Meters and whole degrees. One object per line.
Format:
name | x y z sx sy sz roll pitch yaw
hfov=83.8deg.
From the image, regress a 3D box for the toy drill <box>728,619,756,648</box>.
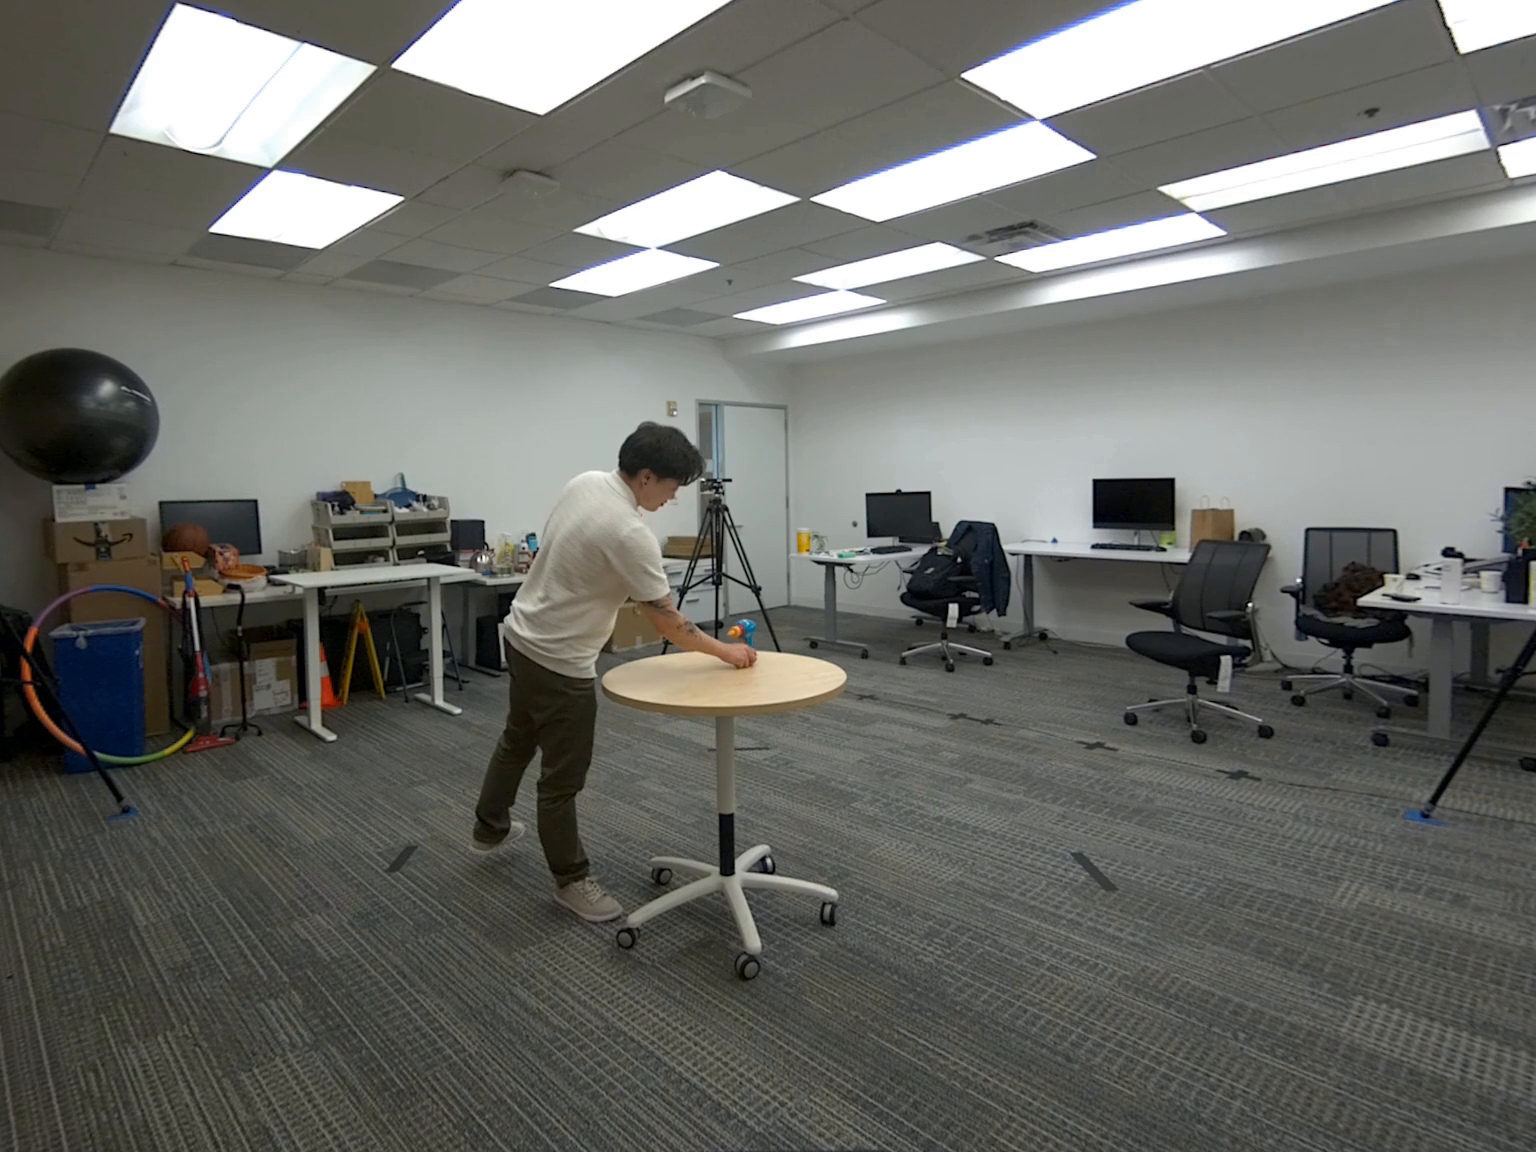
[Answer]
toy drill | -0.094 0.218 2.841 0.062 0.145 0.167 3 7 24
